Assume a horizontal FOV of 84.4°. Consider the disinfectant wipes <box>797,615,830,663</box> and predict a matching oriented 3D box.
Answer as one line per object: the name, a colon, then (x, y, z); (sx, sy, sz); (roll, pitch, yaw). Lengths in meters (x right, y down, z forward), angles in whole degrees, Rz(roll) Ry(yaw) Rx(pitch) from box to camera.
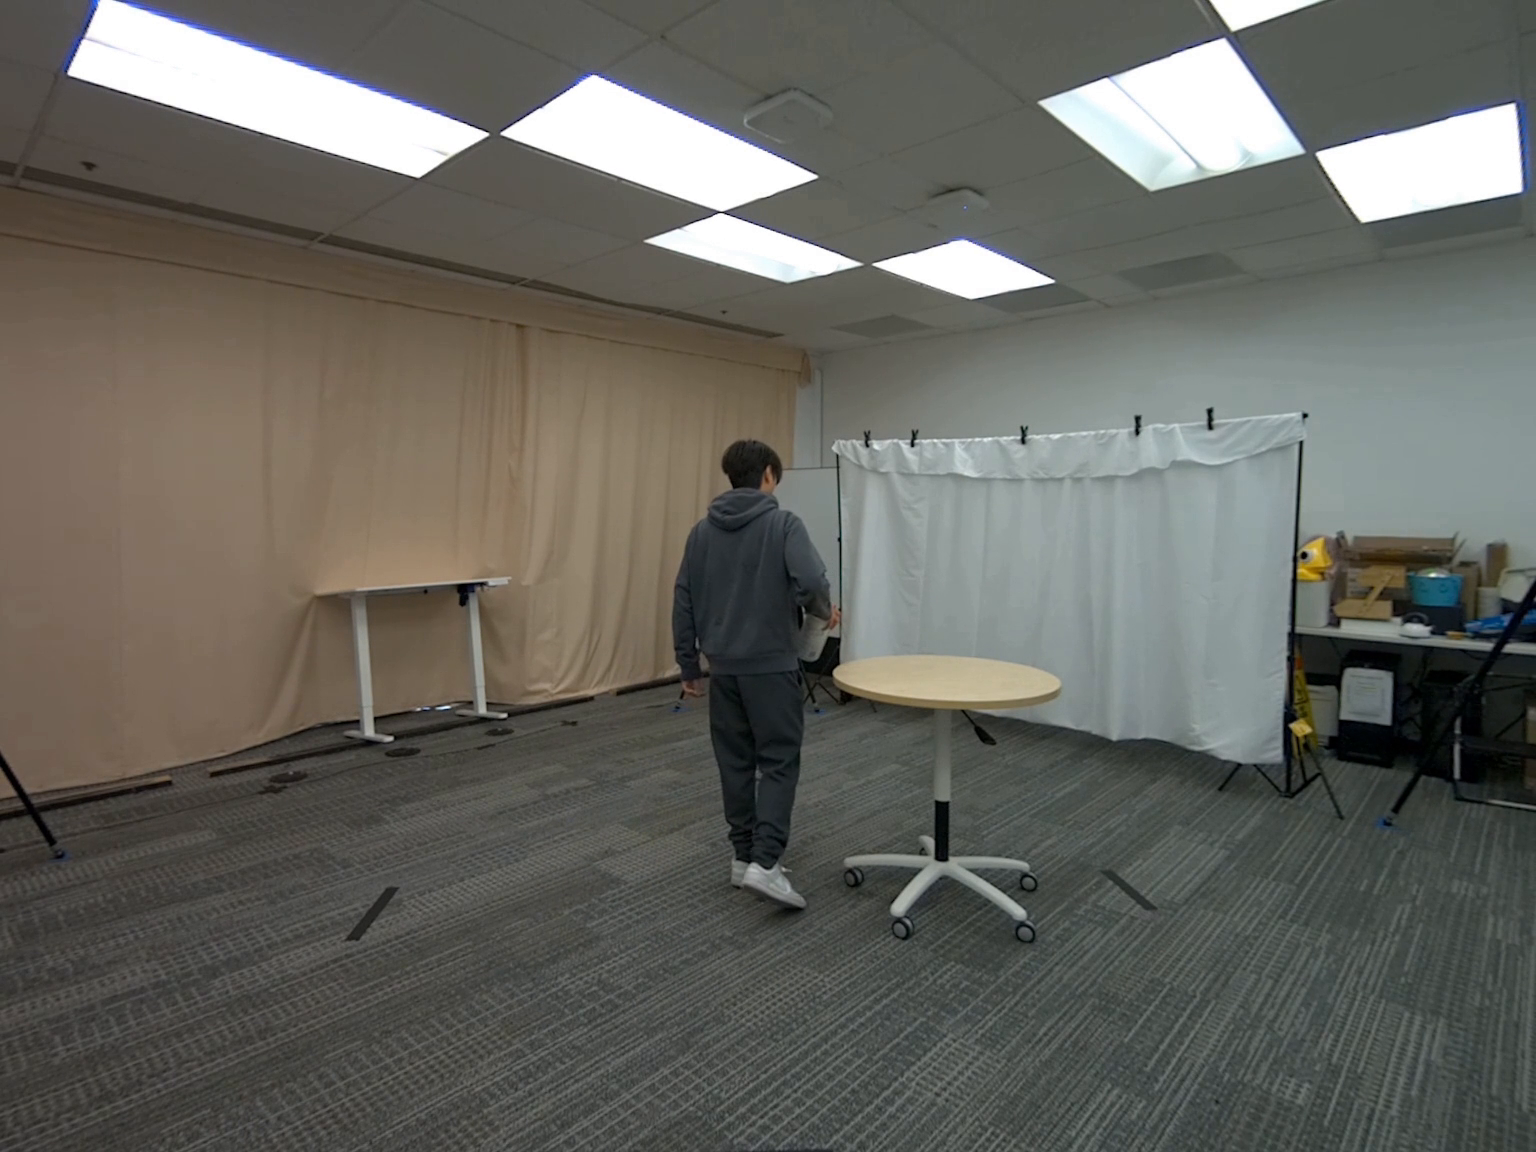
disinfectant wipes: (0.182, 0.224, 3.264); (0.117, 0.215, 0.120); (9, 34, -8)
